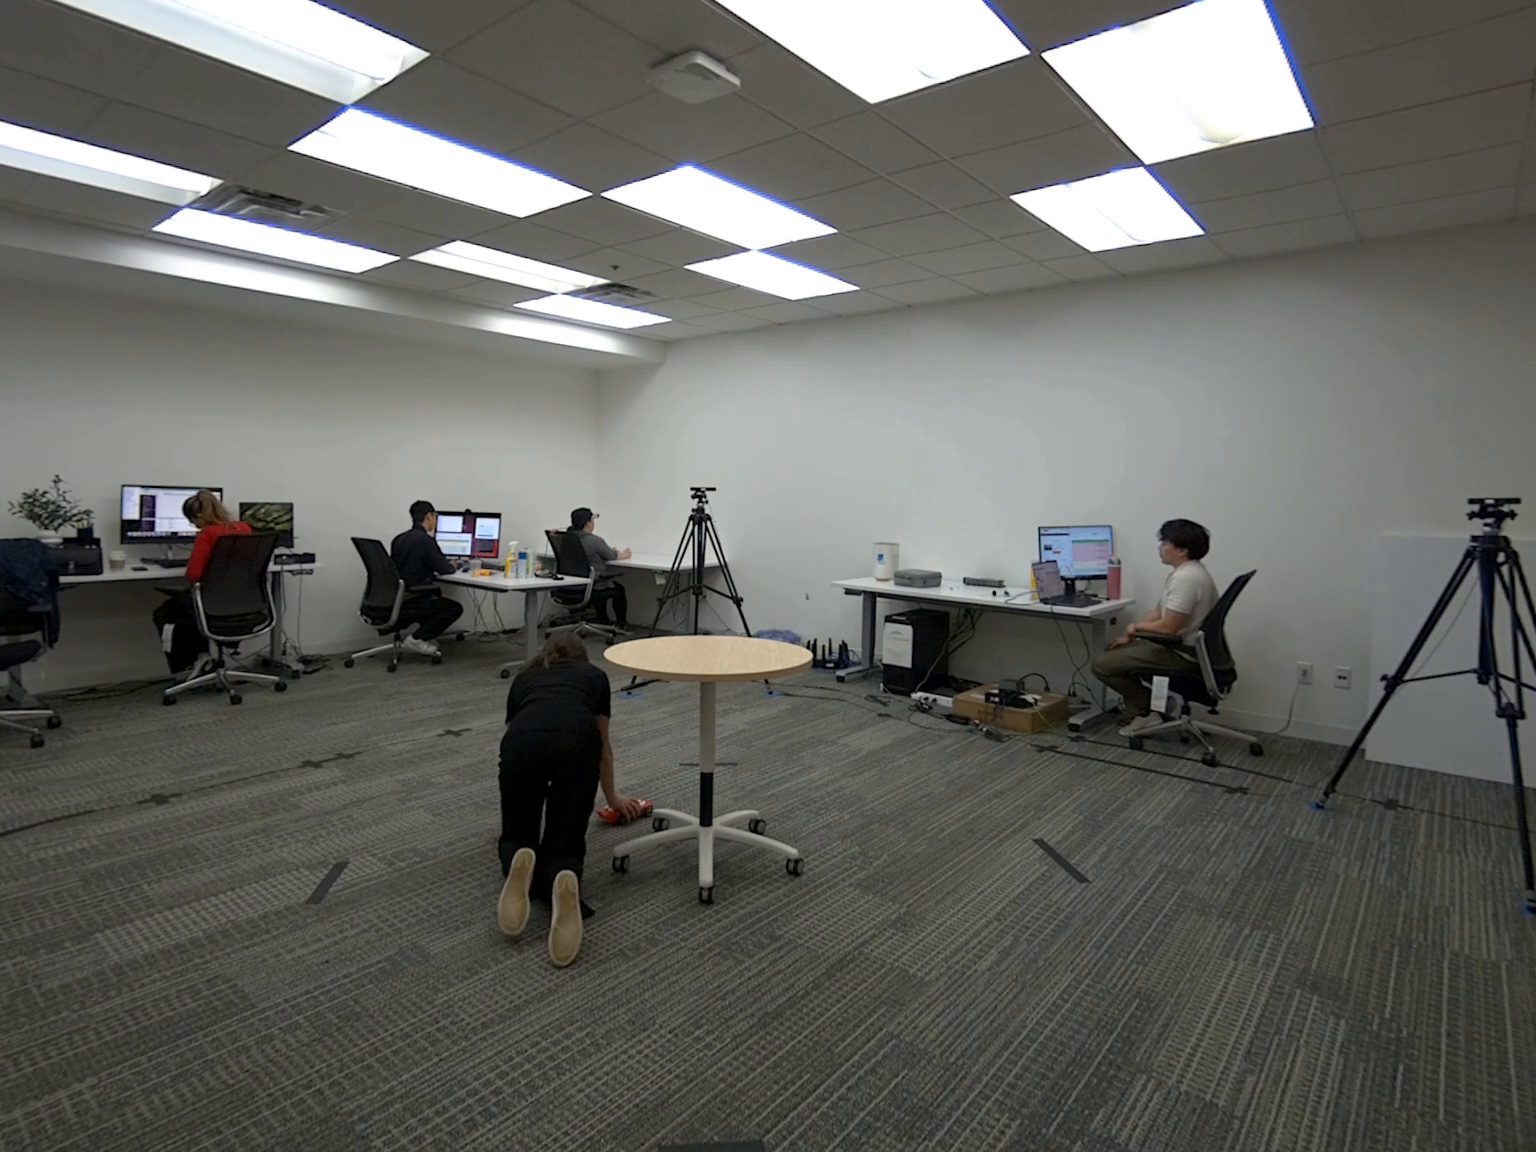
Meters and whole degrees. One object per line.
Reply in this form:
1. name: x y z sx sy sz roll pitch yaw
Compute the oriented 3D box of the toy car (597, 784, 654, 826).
1. toy car: -0.622 0.984 3.569 0.245 0.083 0.135 11 -3 -44
